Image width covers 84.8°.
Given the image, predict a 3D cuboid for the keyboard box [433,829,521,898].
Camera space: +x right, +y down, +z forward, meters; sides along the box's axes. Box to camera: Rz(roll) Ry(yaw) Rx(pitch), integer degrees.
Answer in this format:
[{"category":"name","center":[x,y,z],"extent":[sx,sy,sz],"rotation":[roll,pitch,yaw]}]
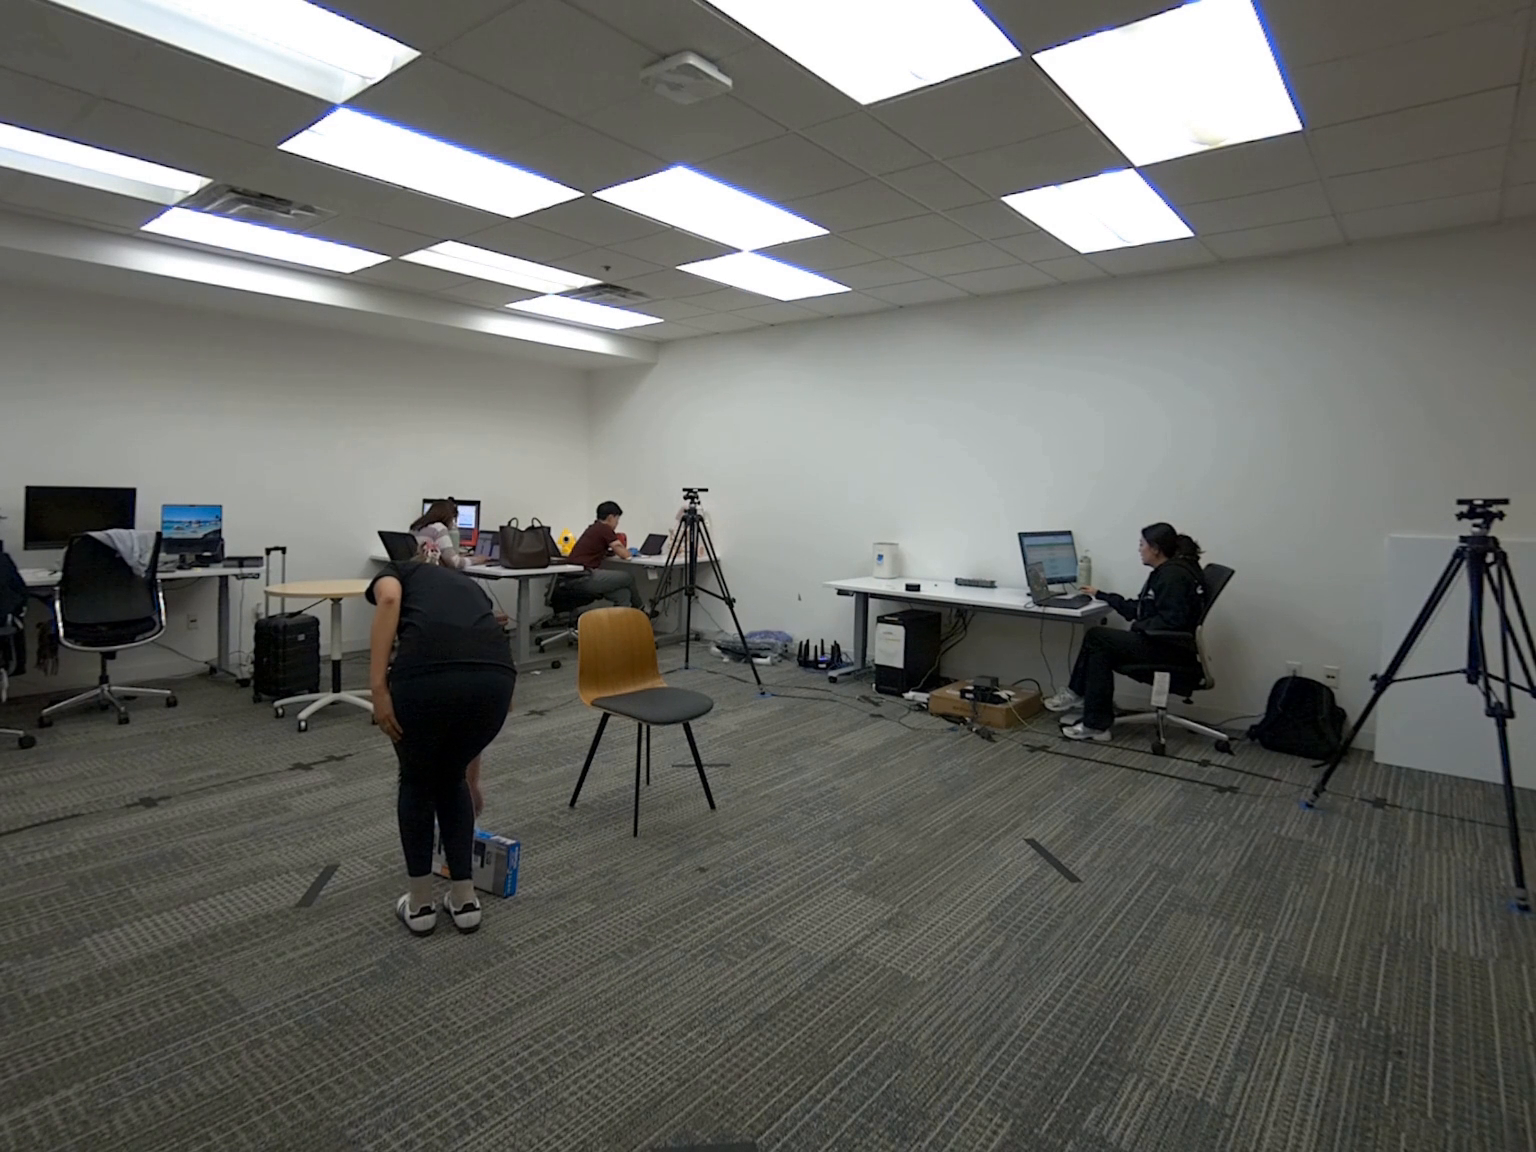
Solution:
[{"category":"keyboard box","center":[-1.072,0.981,2.991],"extent":[0.449,0.176,0.057],"rotation":[4,-2,29]}]
